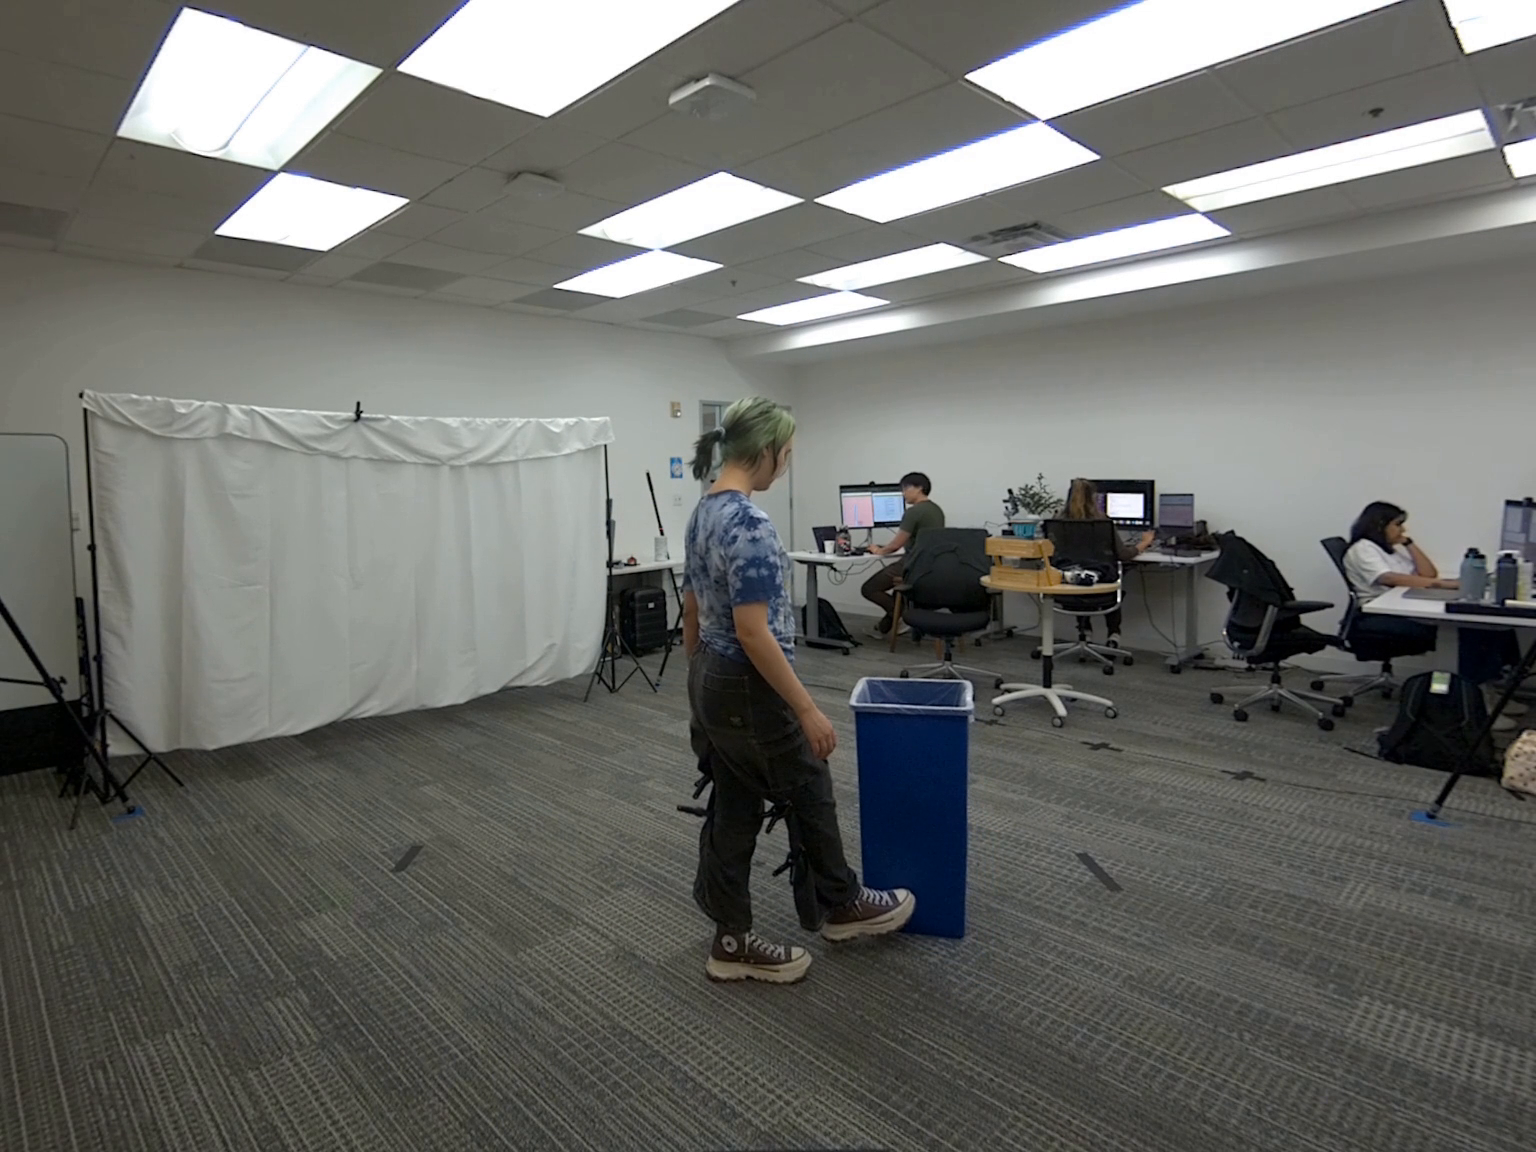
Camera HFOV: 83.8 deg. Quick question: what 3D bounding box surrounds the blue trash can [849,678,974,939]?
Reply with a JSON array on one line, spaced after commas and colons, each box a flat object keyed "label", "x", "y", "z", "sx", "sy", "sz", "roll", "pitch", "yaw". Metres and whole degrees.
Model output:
[{"label": "blue trash can", "x": 0.470, "y": 0.723, "z": 2.732, "sx": 0.379, "sy": 0.711, "sz": 0.374, "roll": 0, "pitch": 4, "yaw": 14}]
